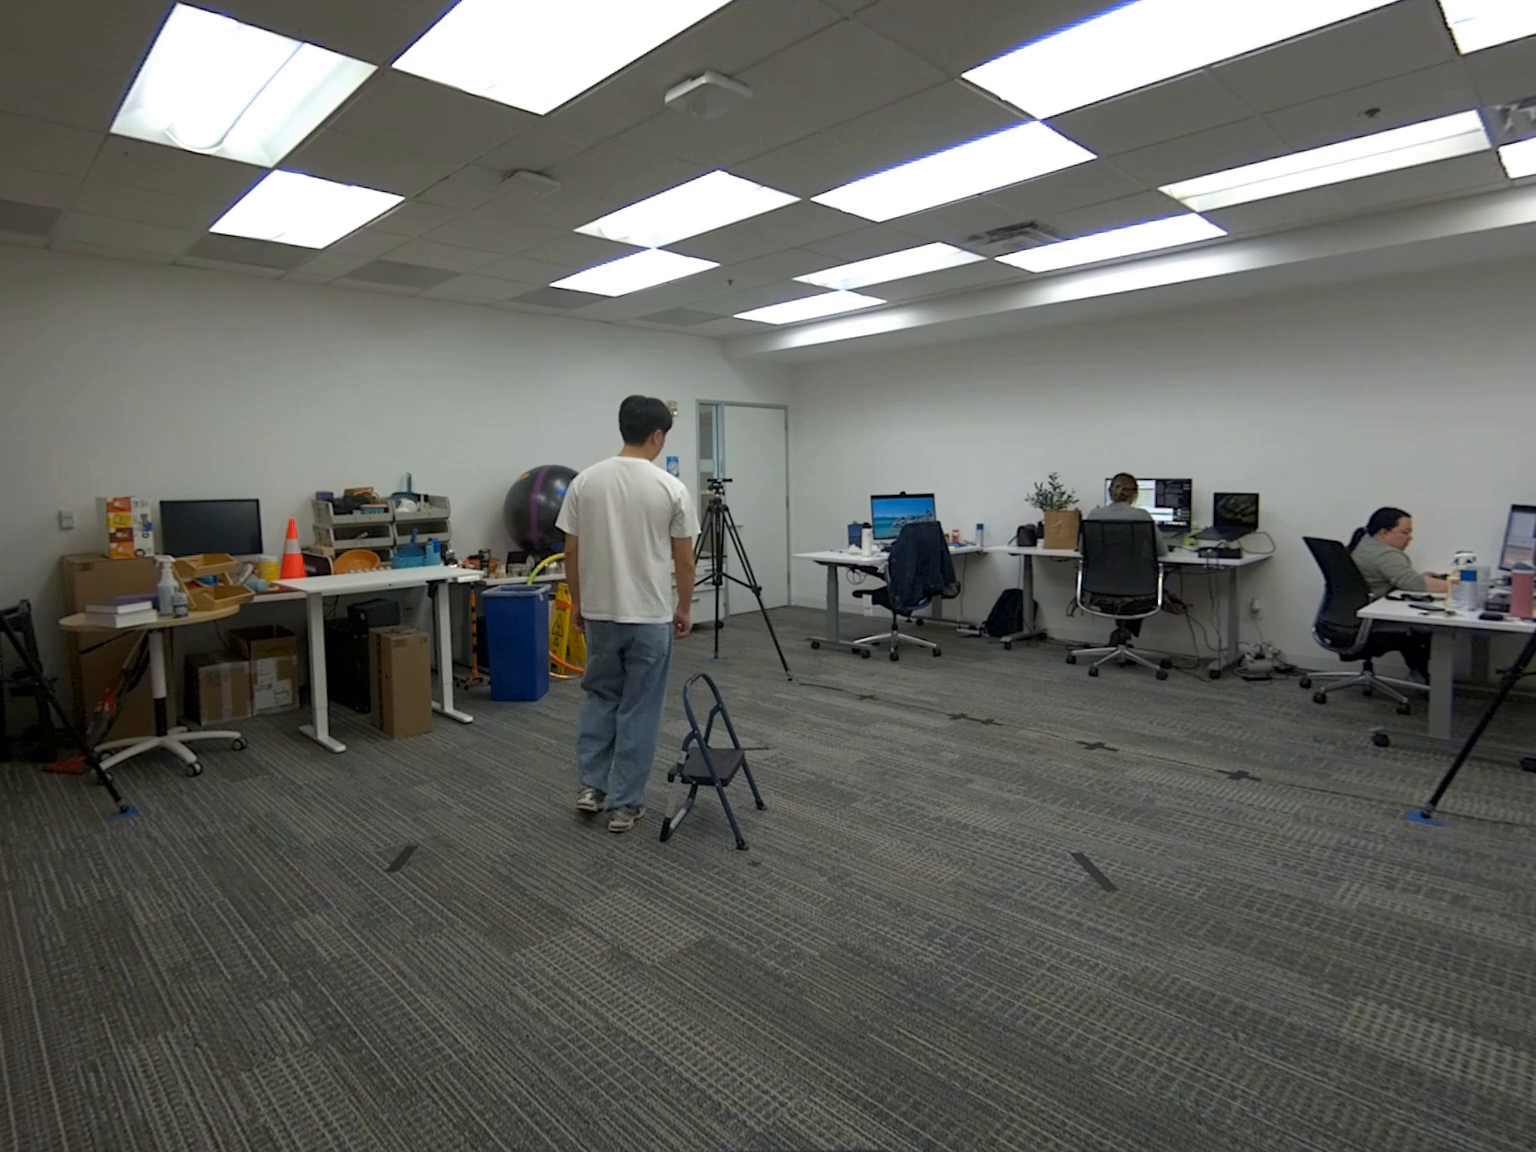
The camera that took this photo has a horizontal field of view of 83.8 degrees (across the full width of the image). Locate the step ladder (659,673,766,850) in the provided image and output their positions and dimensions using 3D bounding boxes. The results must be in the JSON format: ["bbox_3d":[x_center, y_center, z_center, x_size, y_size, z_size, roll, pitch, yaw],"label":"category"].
[{"bbox_3d":[-0.221,0.706,3.443,0.353,0.604,0.427,0,4,11],"label":"step ladder"}]
